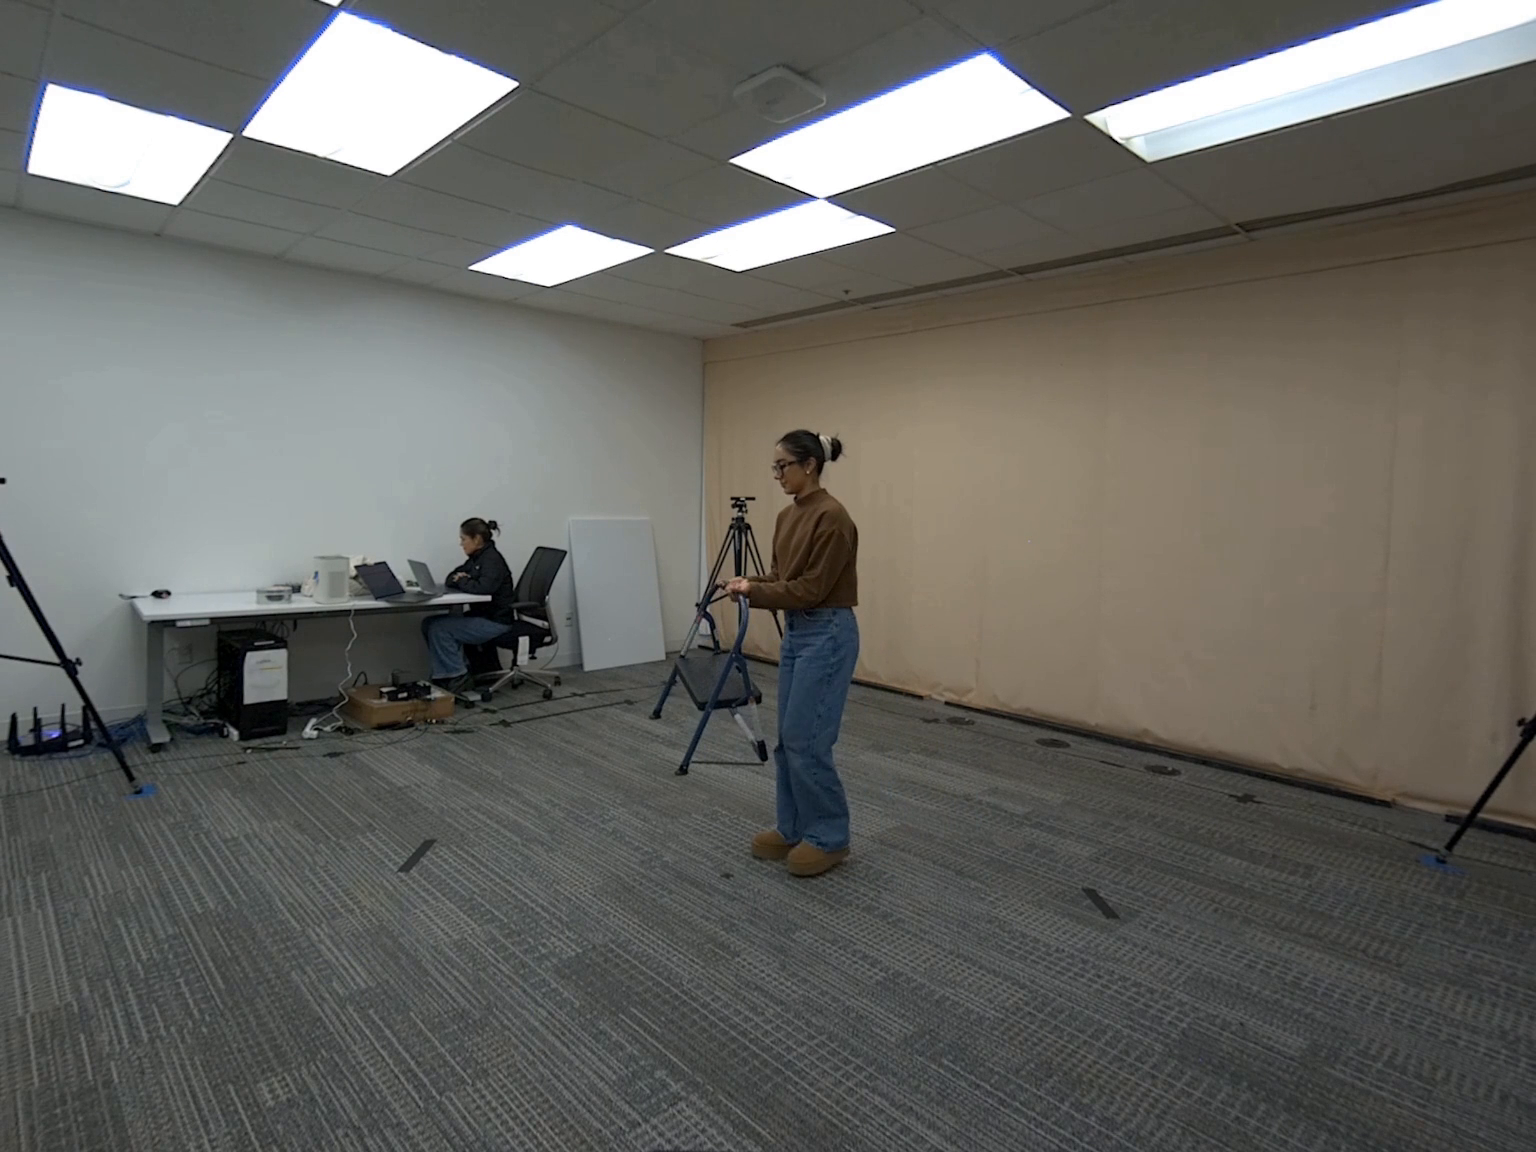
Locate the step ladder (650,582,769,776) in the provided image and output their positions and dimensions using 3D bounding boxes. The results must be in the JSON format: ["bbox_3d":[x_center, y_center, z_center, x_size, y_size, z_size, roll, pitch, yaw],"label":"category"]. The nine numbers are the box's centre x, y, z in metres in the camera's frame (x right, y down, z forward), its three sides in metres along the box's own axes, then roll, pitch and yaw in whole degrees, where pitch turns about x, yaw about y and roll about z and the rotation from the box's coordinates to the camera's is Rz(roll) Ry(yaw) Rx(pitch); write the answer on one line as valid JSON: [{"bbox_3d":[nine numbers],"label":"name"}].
[{"bbox_3d":[-0.212,0.340,3.092,0.344,0.598,0.442,-4,21,-21],"label":"step ladder"}]
